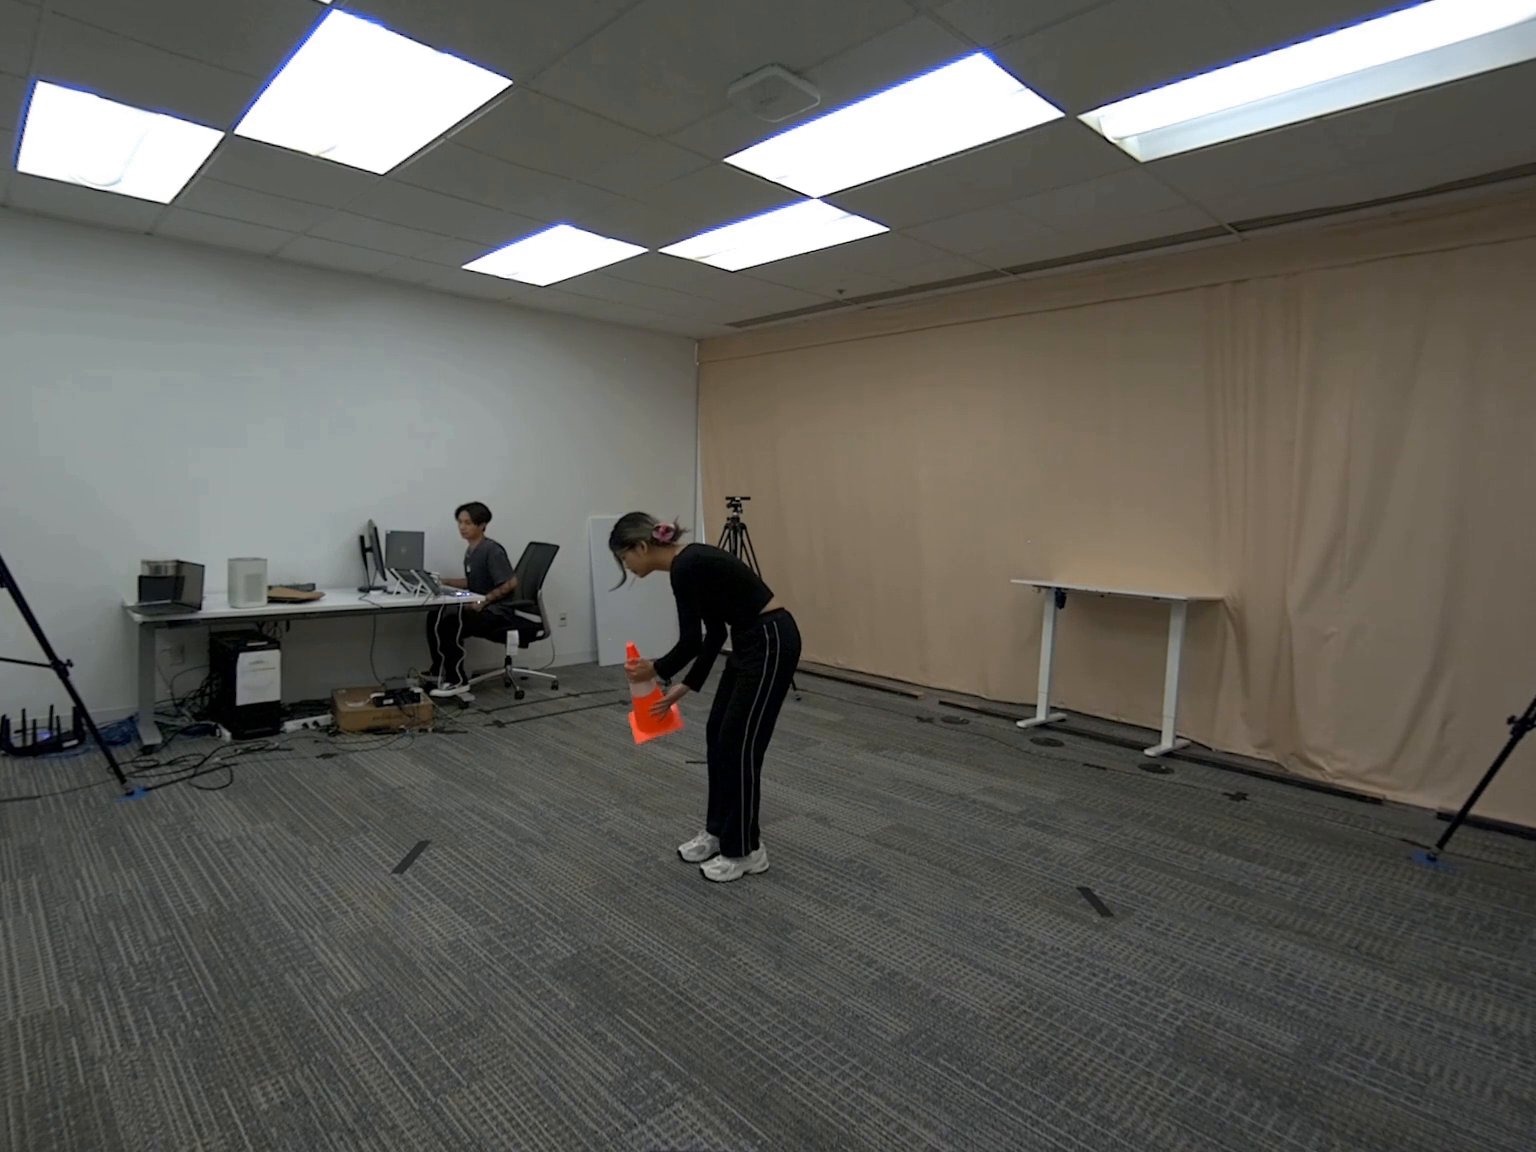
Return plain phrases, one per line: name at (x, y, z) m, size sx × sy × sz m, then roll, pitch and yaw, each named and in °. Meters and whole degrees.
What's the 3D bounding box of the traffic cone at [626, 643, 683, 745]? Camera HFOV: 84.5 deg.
traffic cone at (-0.490, 0.422, 3.287) m, size 0.204 × 0.375 × 0.209 m, roll -18°, pitch 30°, yaw -10°
